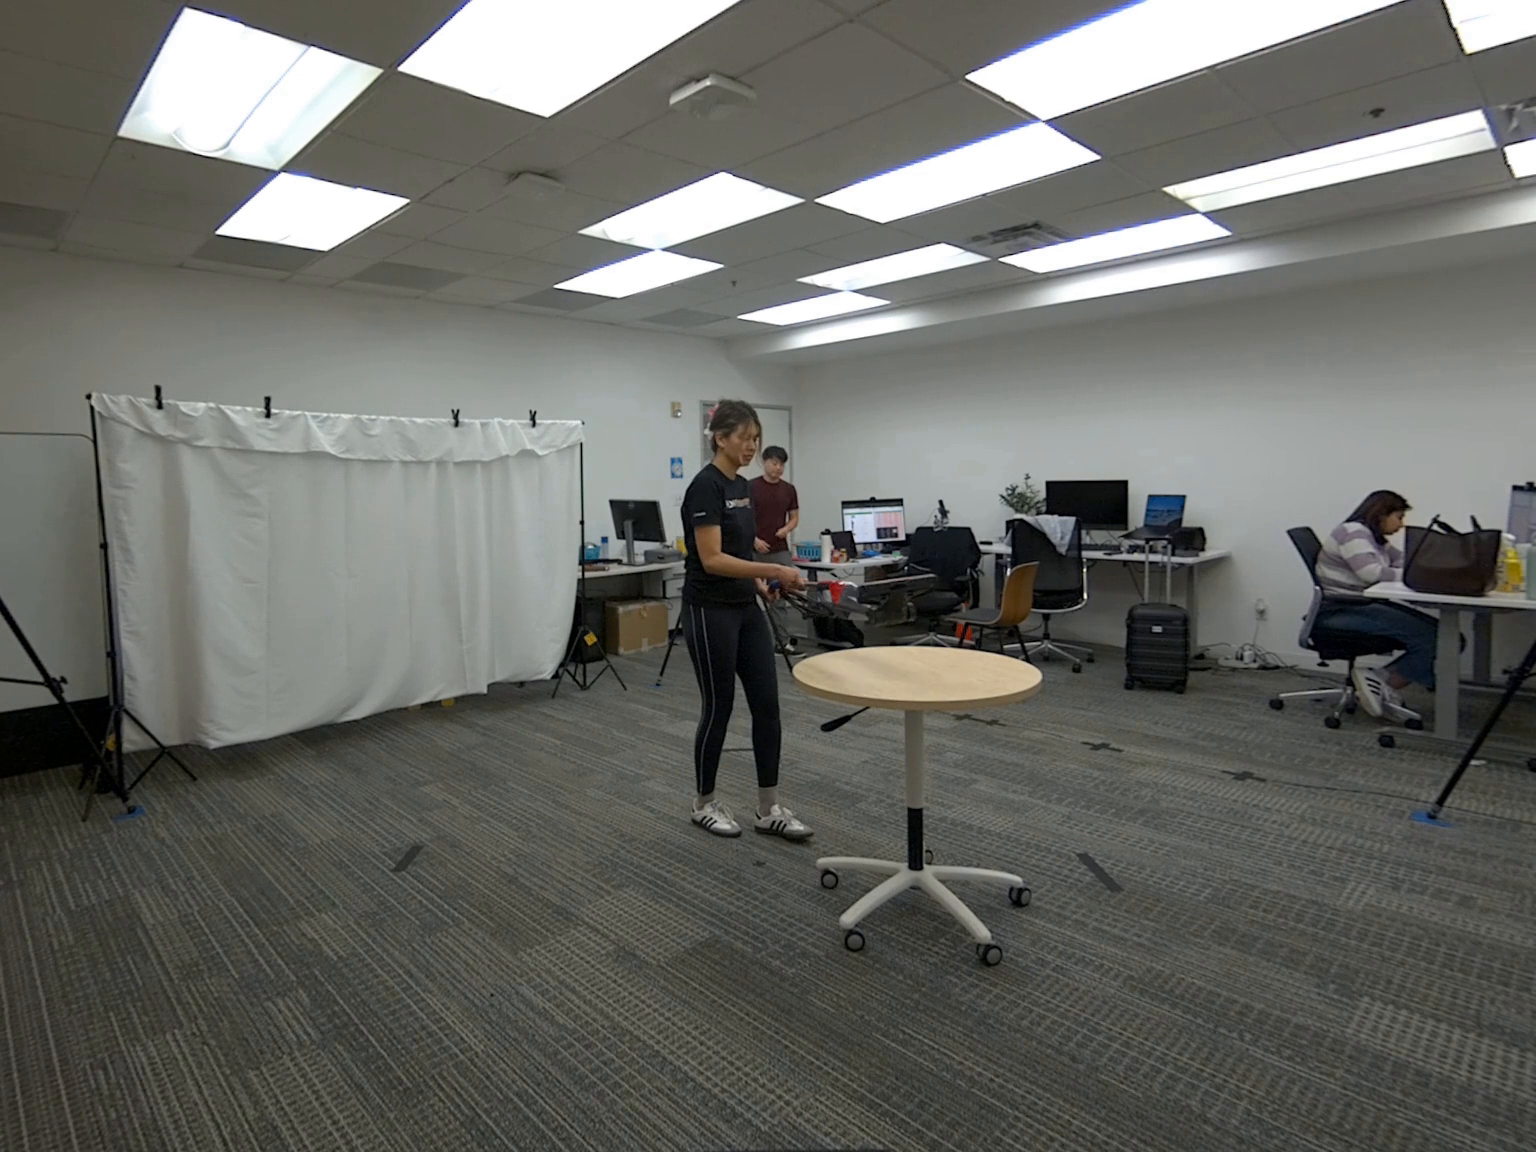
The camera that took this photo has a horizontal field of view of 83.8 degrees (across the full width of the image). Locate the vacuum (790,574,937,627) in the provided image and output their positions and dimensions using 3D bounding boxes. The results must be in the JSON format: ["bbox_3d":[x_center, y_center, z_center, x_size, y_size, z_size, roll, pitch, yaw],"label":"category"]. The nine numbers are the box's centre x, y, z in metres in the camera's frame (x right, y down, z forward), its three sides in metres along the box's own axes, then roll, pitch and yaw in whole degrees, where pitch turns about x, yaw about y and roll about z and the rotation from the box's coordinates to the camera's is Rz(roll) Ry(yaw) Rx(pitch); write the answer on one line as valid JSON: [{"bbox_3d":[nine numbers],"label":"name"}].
[{"bbox_3d":[0.179,0.078,2.934,0.248,0.144,1.068,-7,3,-22],"label":"vacuum"}]
